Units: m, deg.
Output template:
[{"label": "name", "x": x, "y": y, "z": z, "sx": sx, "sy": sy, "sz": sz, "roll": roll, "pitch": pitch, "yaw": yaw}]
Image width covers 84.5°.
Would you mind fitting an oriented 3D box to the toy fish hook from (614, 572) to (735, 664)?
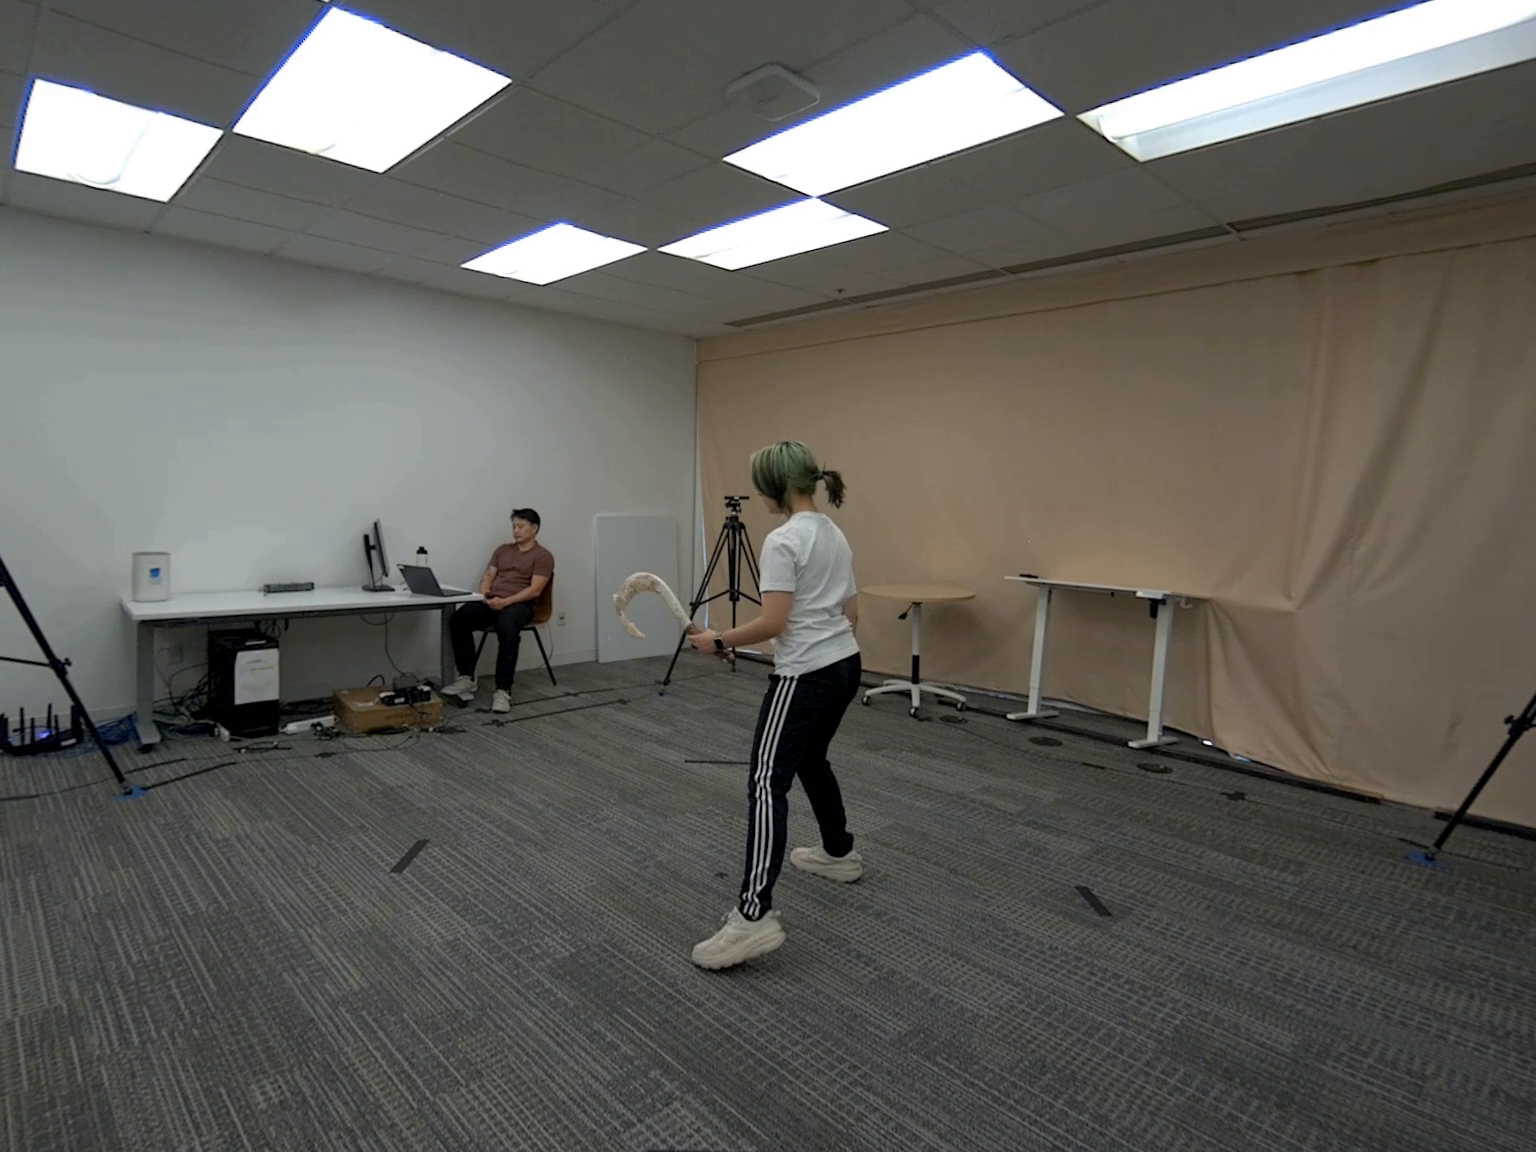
[{"label": "toy fish hook", "x": -0.344, "y": 0.190, "z": 2.970, "sx": 0.517, "sy": 0.224, "sz": 0.047, "roll": 38, "pitch": 6, "yaw": 20}]
